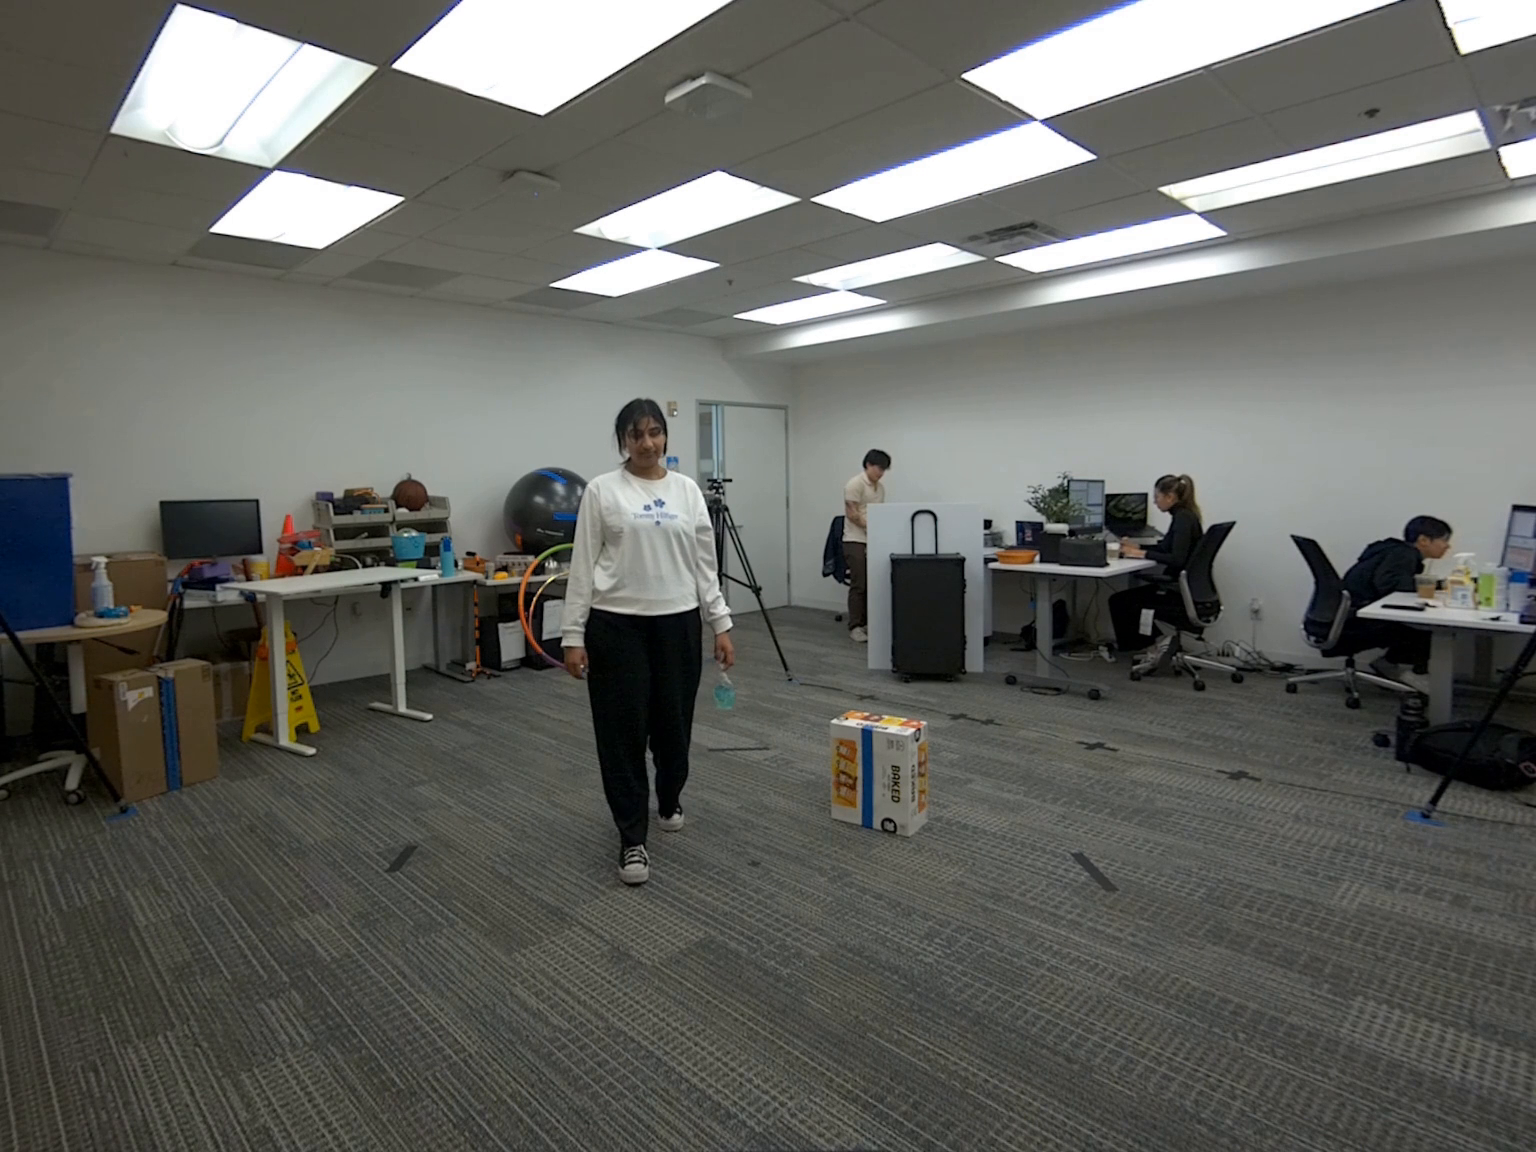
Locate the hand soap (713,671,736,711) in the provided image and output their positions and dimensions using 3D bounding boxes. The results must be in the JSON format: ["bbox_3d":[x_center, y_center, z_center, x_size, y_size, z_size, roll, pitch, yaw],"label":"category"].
[{"bbox_3d":[-0.171,0.415,3.204,0.085,0.167,0.043,-4,9,11],"label":"hand soap"}]
